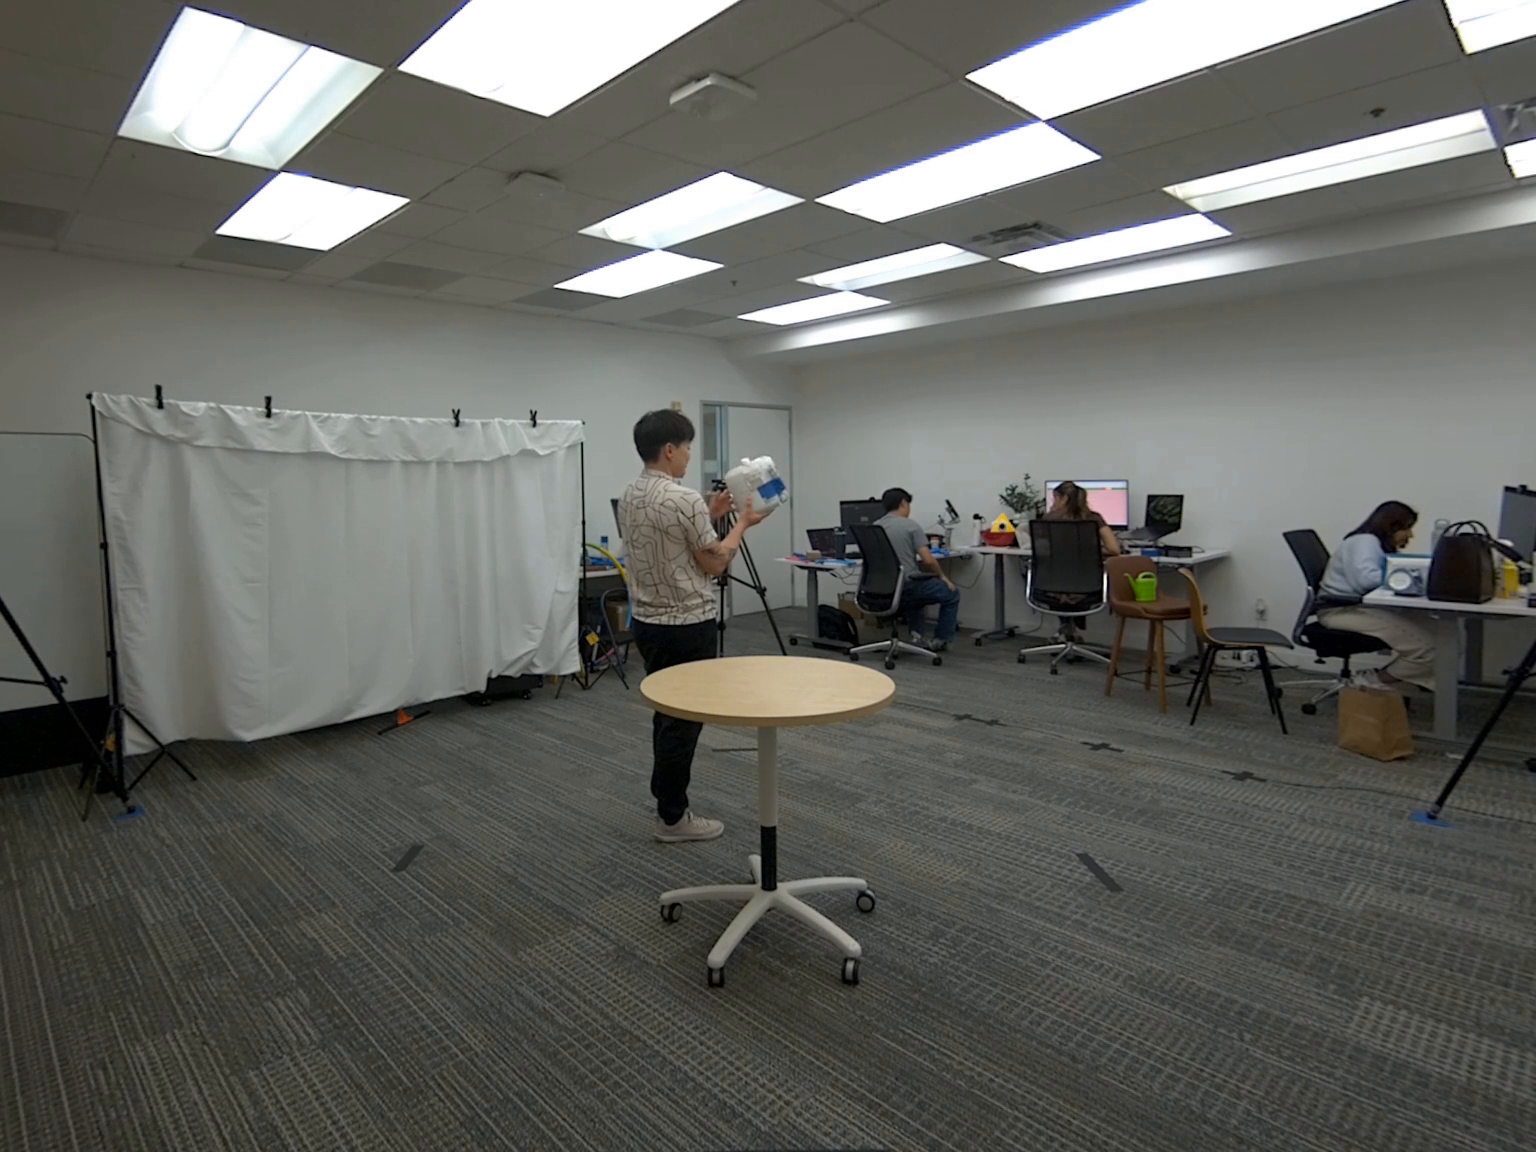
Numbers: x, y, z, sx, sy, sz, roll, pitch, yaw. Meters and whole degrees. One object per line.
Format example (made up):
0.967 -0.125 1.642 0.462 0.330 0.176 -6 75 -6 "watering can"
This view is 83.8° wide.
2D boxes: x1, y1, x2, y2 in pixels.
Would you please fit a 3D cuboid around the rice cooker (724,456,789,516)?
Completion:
-0.059 -0.371 3.476 0.217 0.231 0.222 -24 6 -1 "rice cooker"
